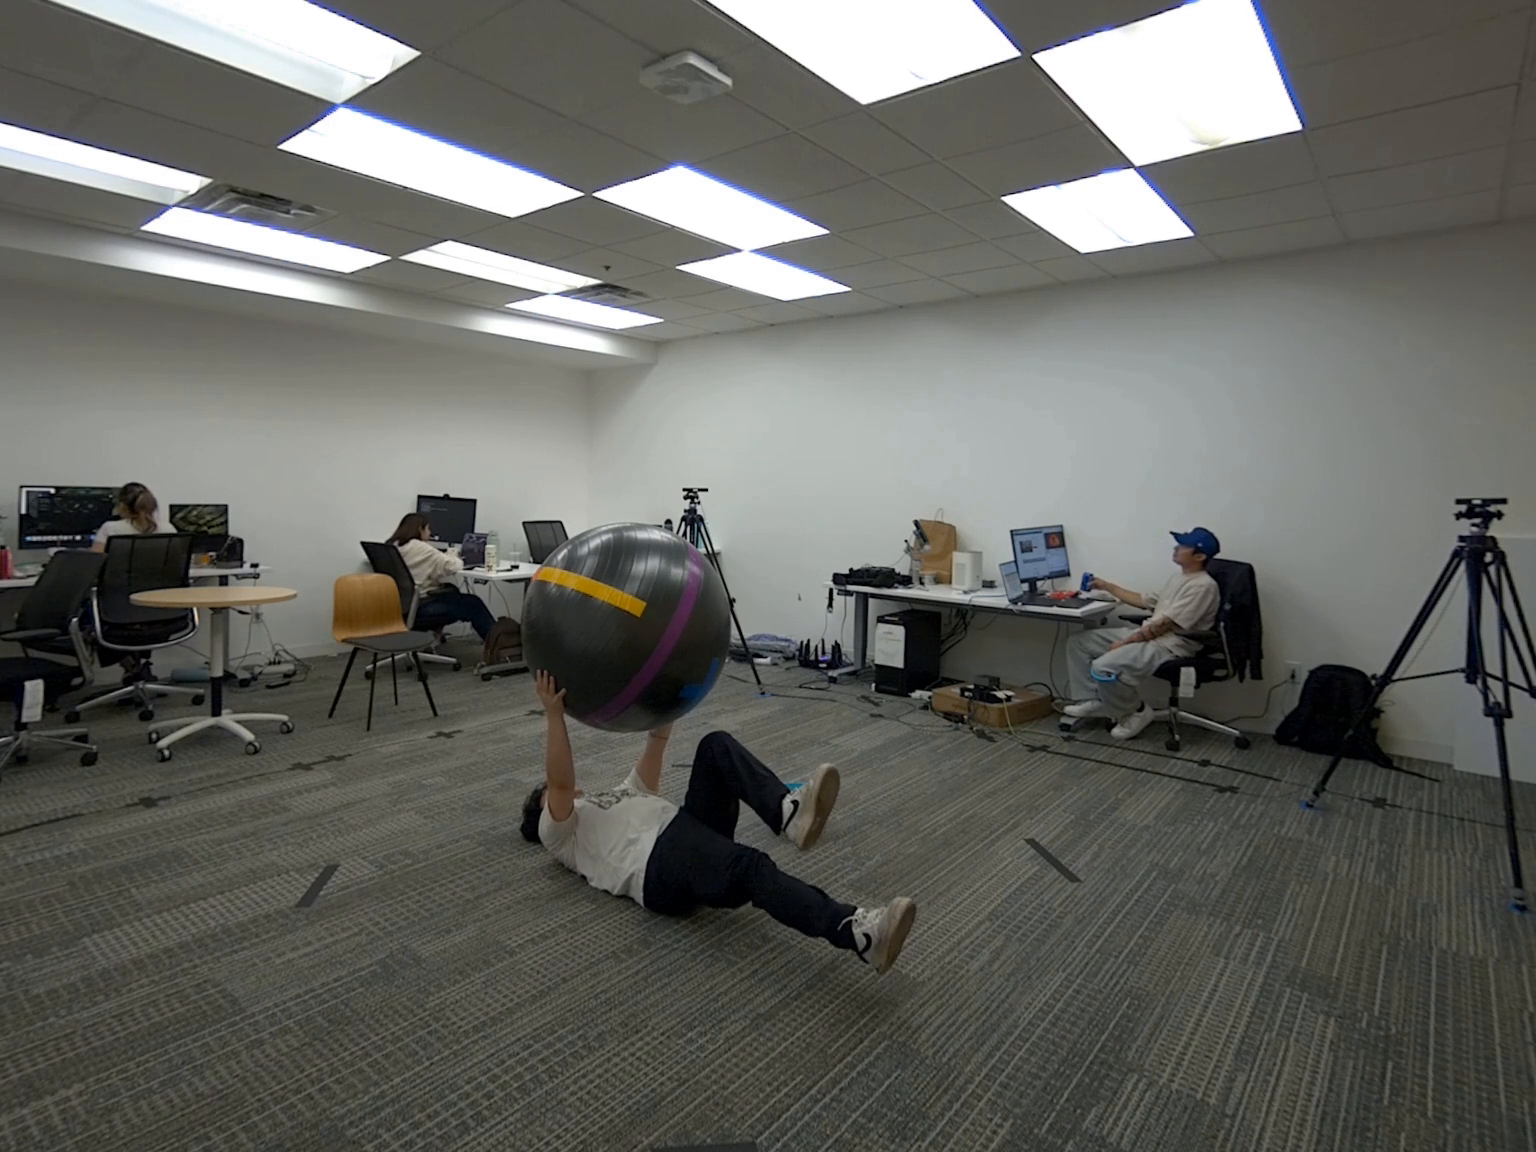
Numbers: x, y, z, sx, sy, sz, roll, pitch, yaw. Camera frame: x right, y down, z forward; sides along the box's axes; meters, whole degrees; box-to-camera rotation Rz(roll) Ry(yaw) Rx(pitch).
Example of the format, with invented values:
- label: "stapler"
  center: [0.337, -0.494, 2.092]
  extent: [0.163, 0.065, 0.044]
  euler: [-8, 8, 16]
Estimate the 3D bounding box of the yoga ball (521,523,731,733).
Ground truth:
- label: "yoga ball"
  center: [-0.523, 0.187, 3.093]
  extent: [0.757, 0.756, 0.761]
  euler: [1, 4, -2]
